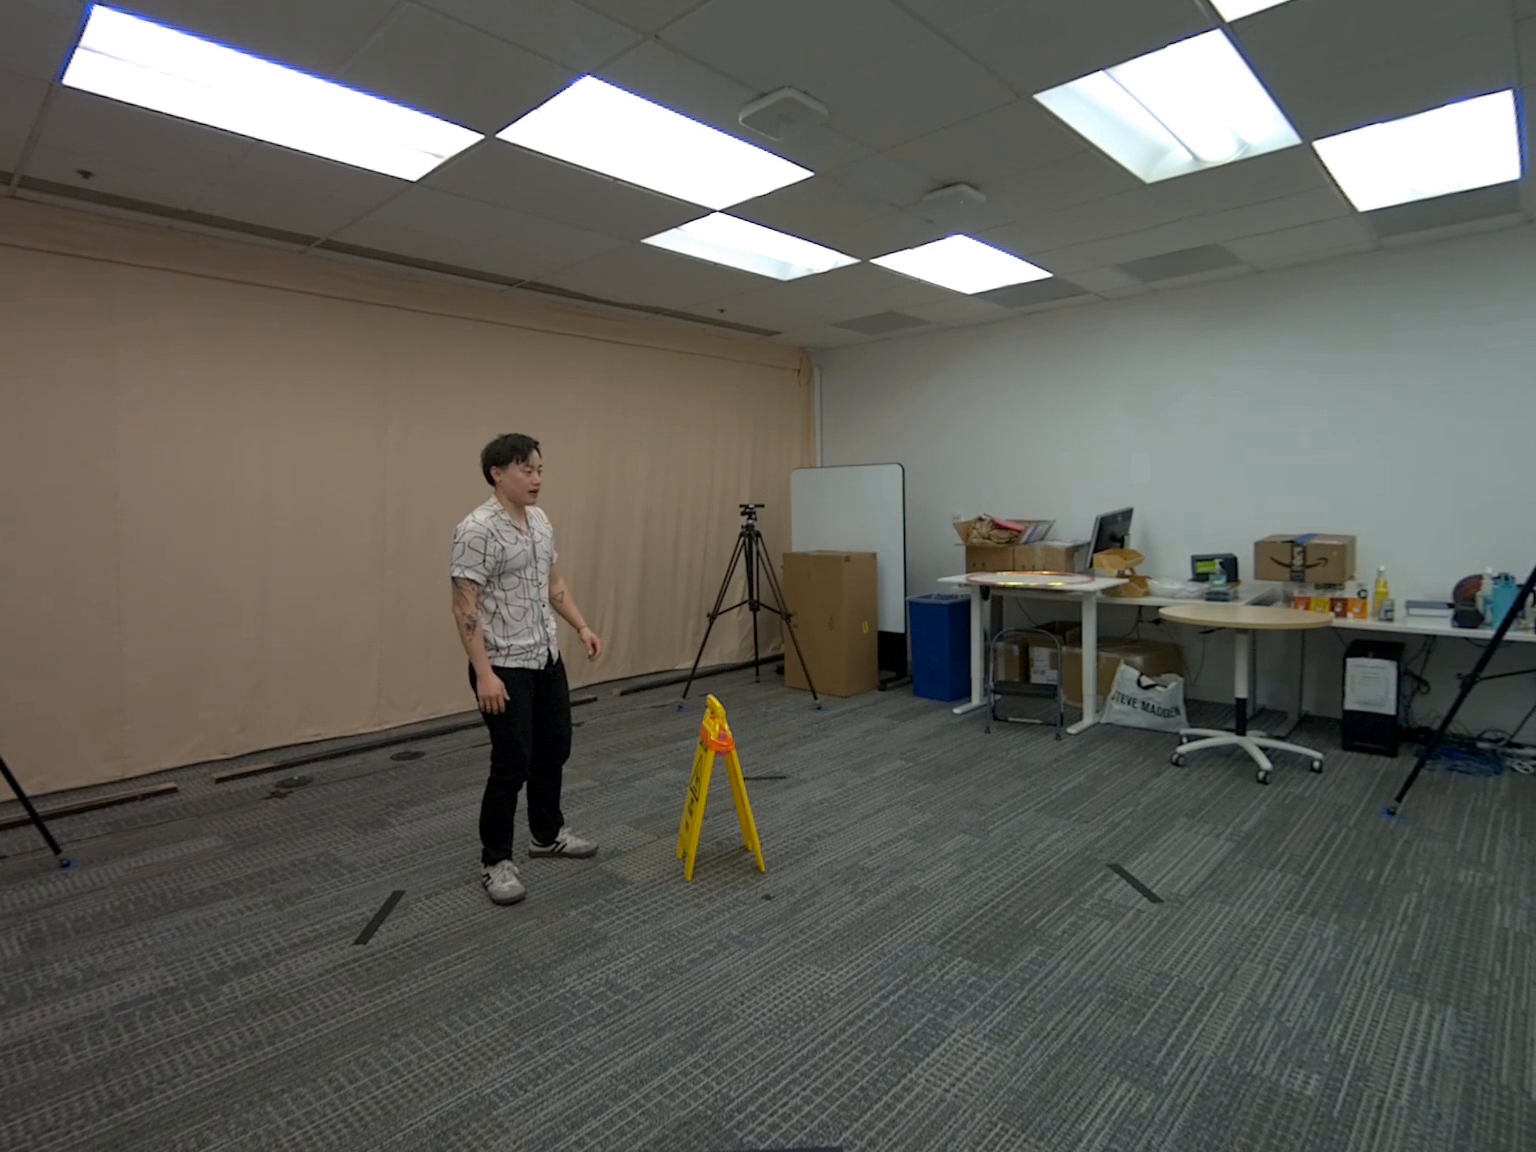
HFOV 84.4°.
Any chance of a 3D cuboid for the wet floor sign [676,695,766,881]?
[{"bbox_3d":[-0.195,0.793,3.257,0.285,0.645,0.287,-2,3,-15],"label":"wet floor sign"}]
